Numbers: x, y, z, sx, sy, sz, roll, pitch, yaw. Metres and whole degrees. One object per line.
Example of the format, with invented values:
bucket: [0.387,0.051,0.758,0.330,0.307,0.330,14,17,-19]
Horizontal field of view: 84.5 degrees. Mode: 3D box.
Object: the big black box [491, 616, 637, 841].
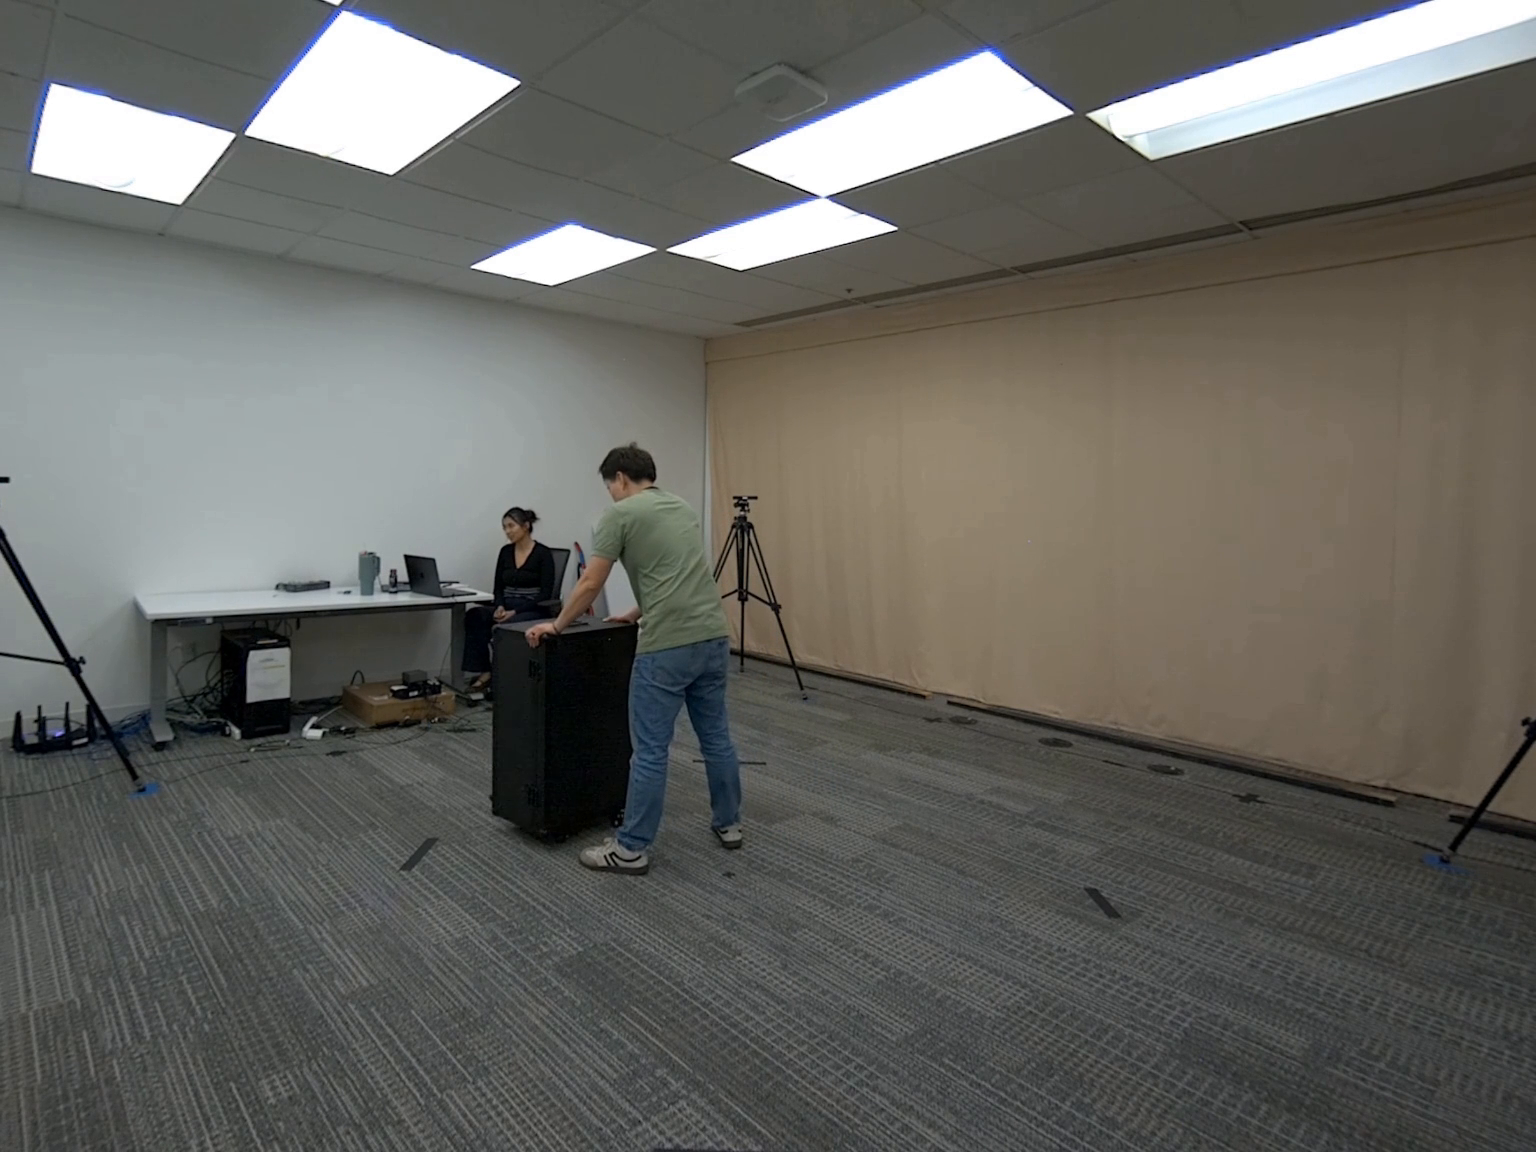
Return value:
big black box: [-0.866,0.624,3.517,0.406,0.860,0.510,2,3,39]
